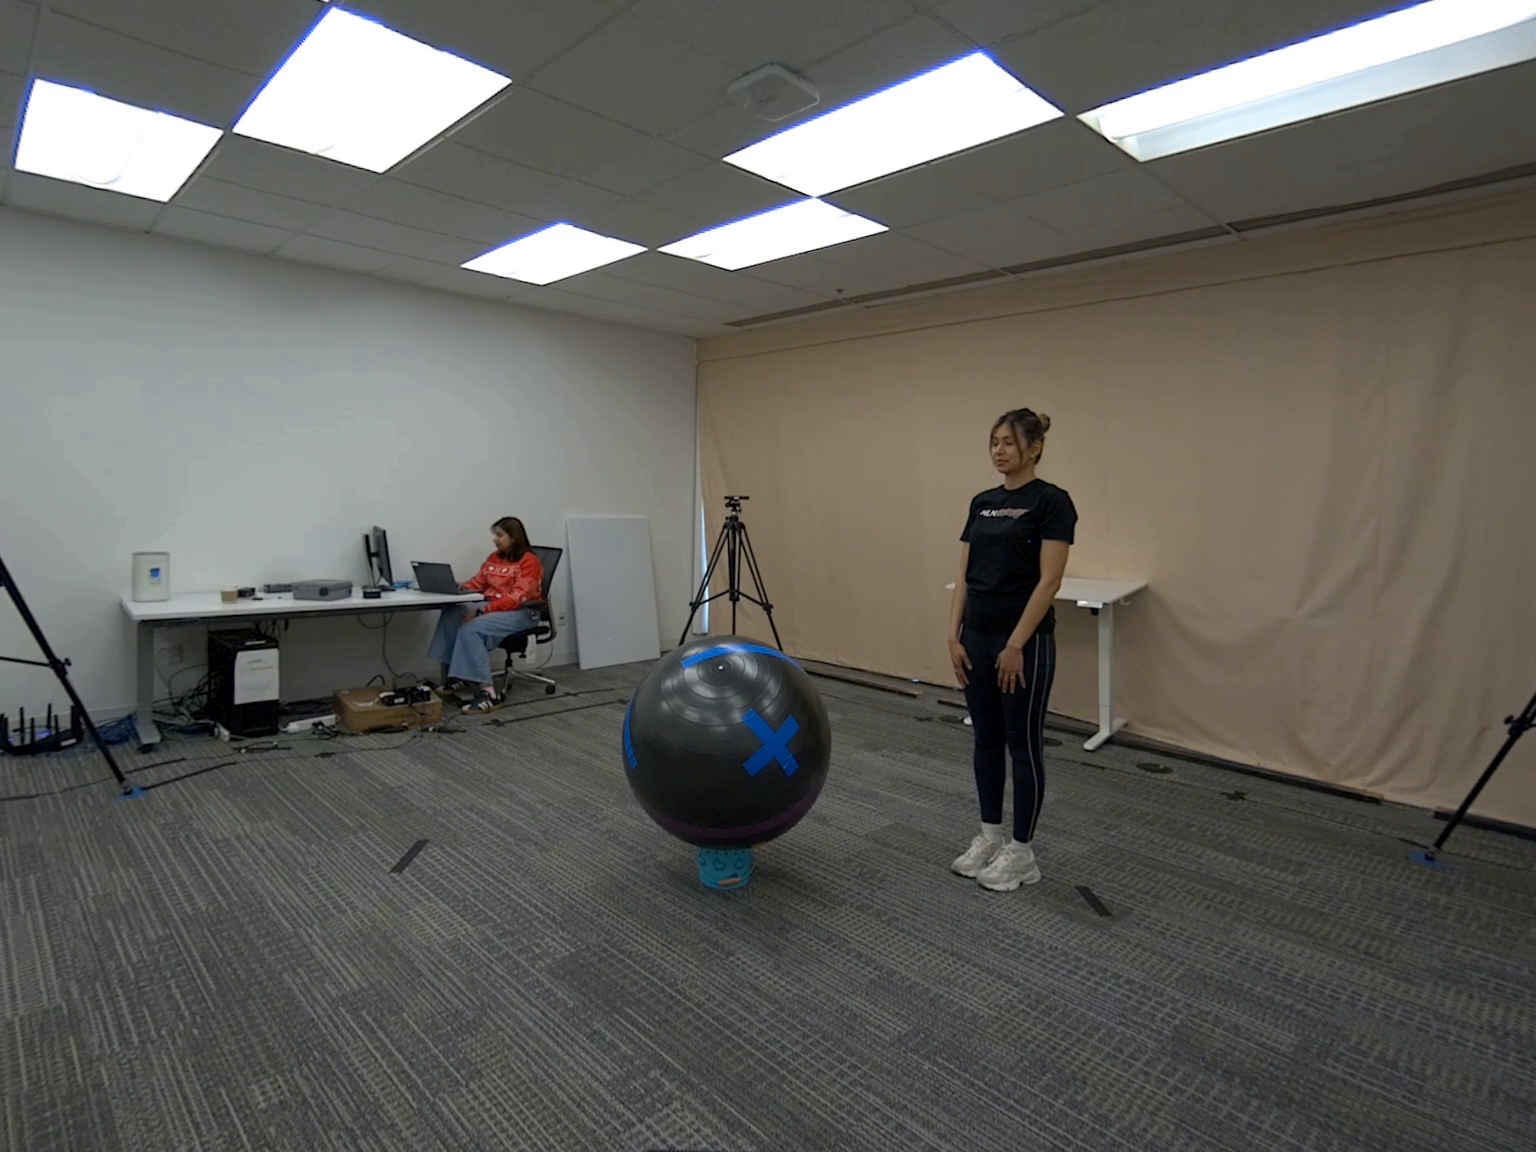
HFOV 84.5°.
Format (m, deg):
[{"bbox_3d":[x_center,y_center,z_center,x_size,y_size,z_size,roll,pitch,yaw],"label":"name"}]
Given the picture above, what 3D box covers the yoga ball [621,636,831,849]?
[{"bbox_3d":[-0.156,0.597,3.050,0.757,0.756,0.761,1,4,-1],"label":"yoga ball"}]
